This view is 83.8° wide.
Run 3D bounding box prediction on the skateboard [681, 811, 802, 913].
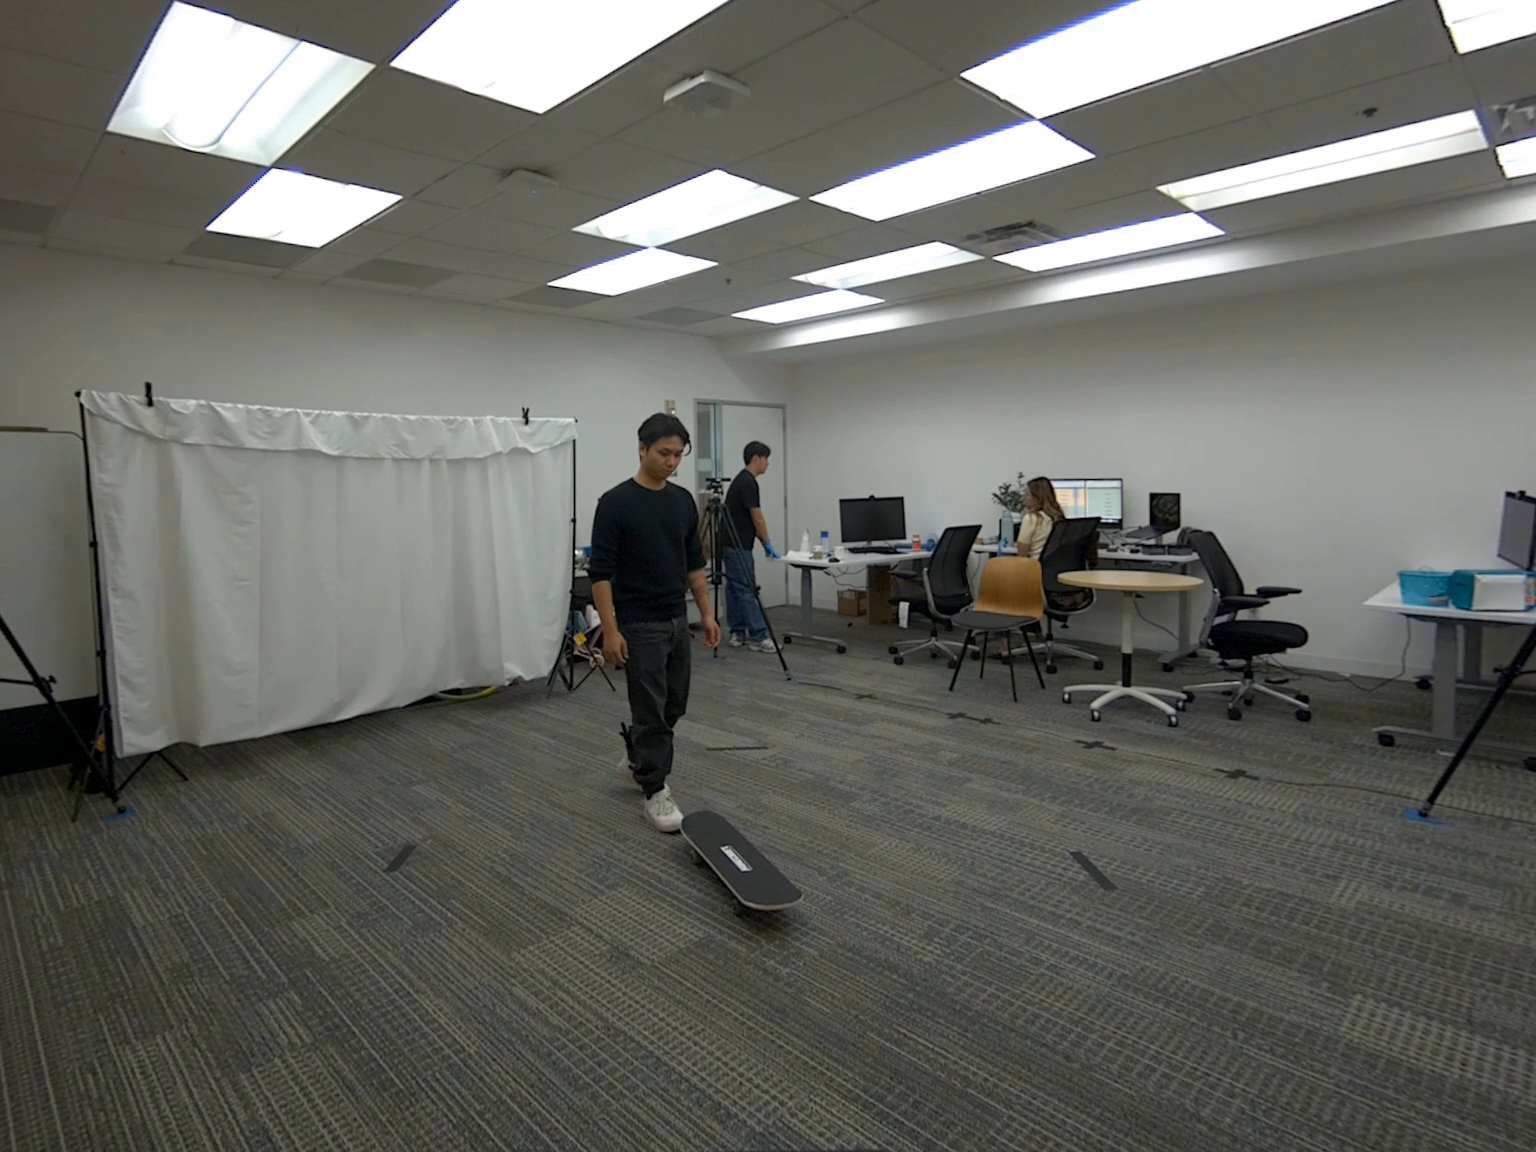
[{"bbox_3d":[-0.107,1.006,2.945,0.190,0.110,0.804,-4,7,-24],"label":"skateboard"}]
